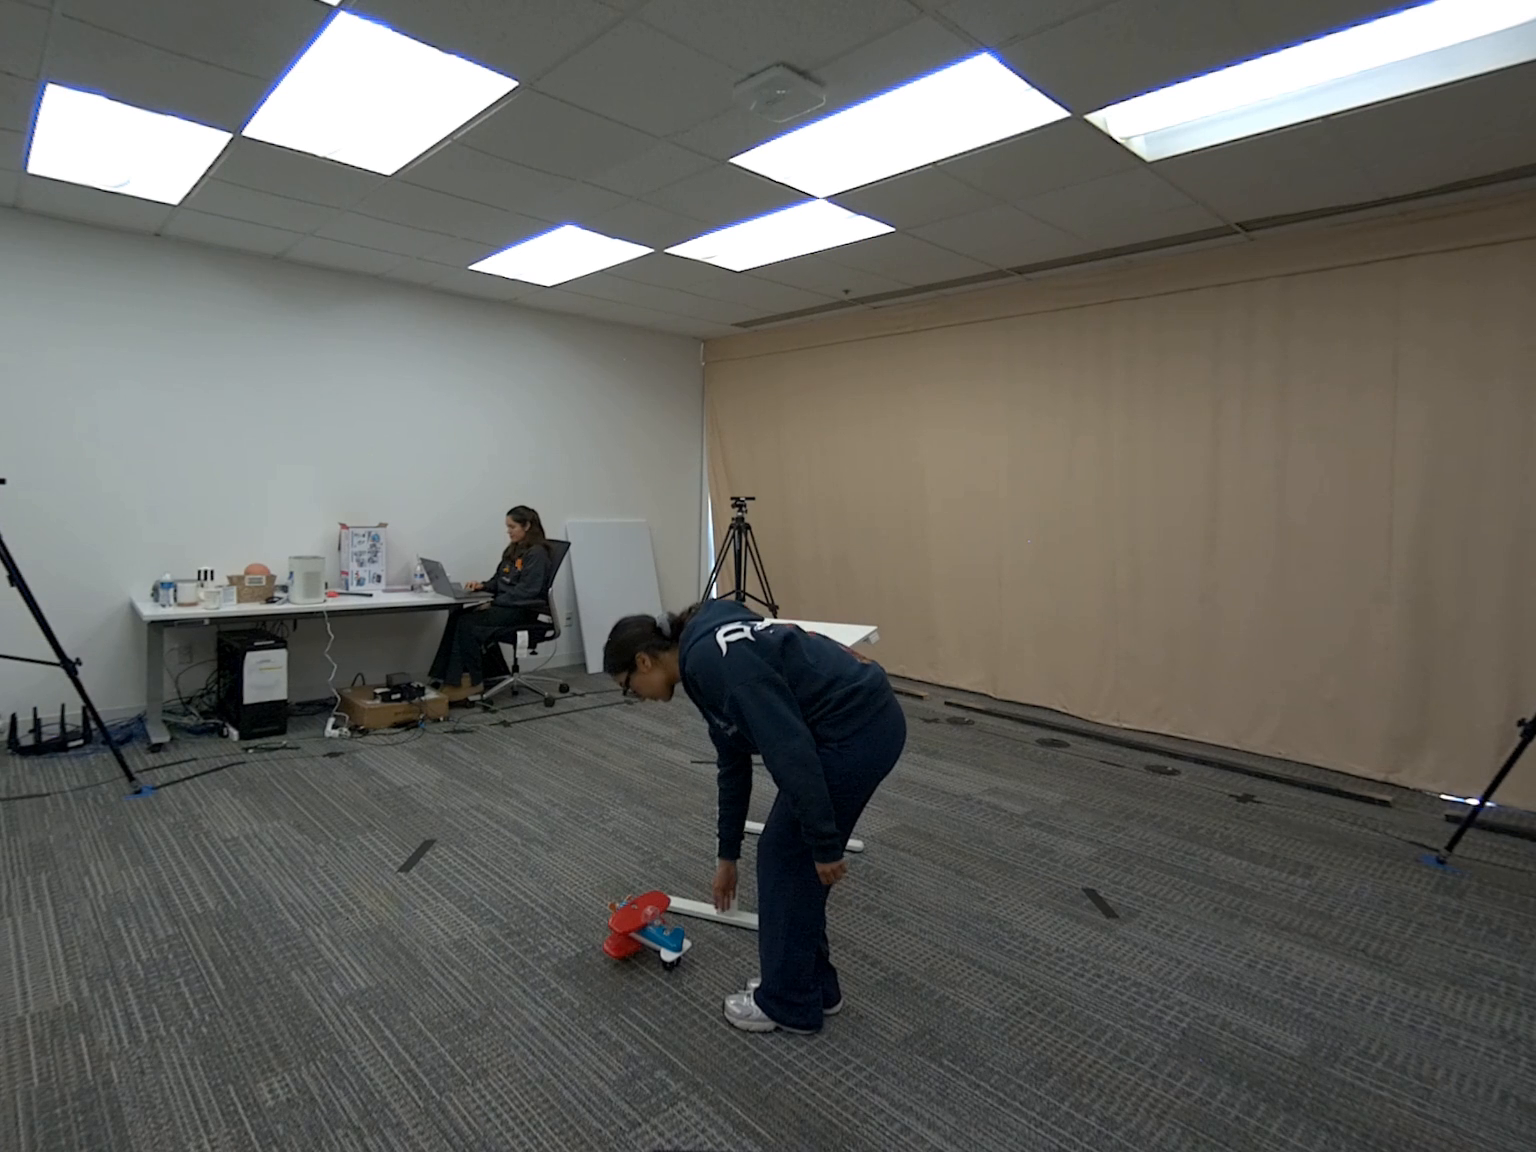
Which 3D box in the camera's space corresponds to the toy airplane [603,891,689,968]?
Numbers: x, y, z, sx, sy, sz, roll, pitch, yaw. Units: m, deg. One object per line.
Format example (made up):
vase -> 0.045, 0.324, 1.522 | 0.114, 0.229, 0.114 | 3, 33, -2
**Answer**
toy airplane -> -0.360, 1.082, 2.557 | 0.260, 0.156, 0.251 | 0, 5, 2
